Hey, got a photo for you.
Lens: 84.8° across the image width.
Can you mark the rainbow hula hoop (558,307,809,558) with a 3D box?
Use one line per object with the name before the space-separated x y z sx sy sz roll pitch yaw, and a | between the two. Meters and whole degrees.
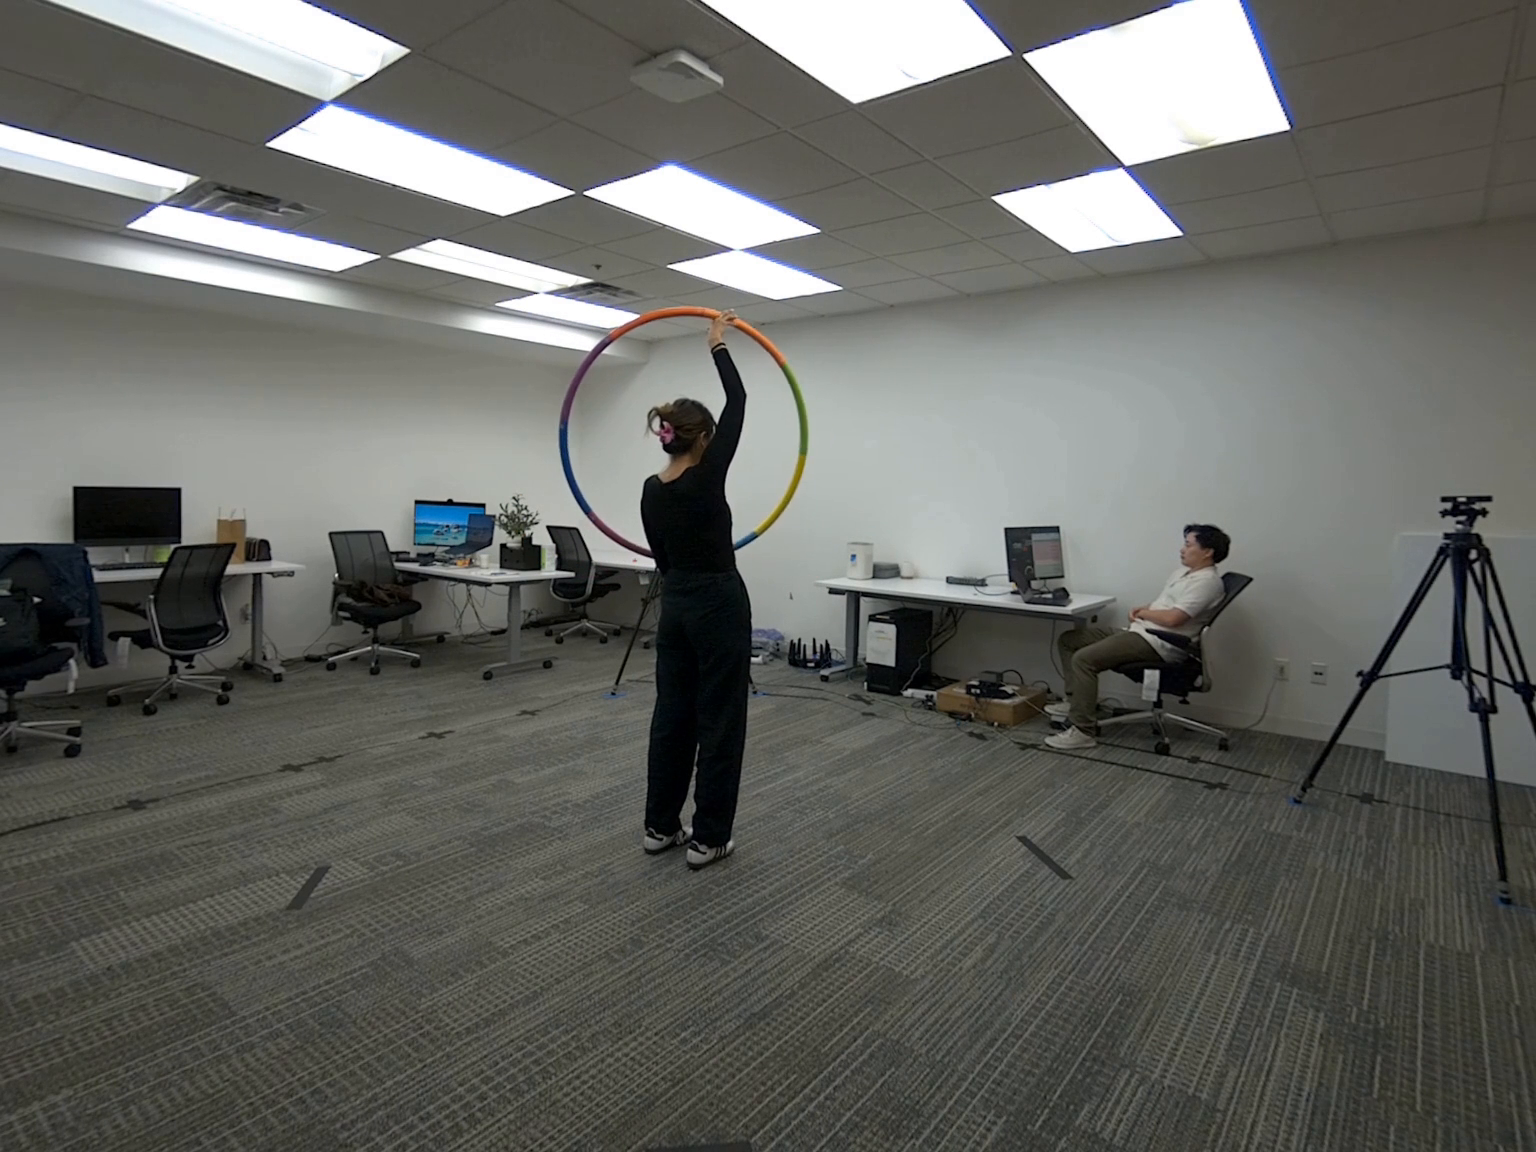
rainbow hula hoop | -0.324 -0.543 3.318 0.975 0.976 0.052 0 10 -10
